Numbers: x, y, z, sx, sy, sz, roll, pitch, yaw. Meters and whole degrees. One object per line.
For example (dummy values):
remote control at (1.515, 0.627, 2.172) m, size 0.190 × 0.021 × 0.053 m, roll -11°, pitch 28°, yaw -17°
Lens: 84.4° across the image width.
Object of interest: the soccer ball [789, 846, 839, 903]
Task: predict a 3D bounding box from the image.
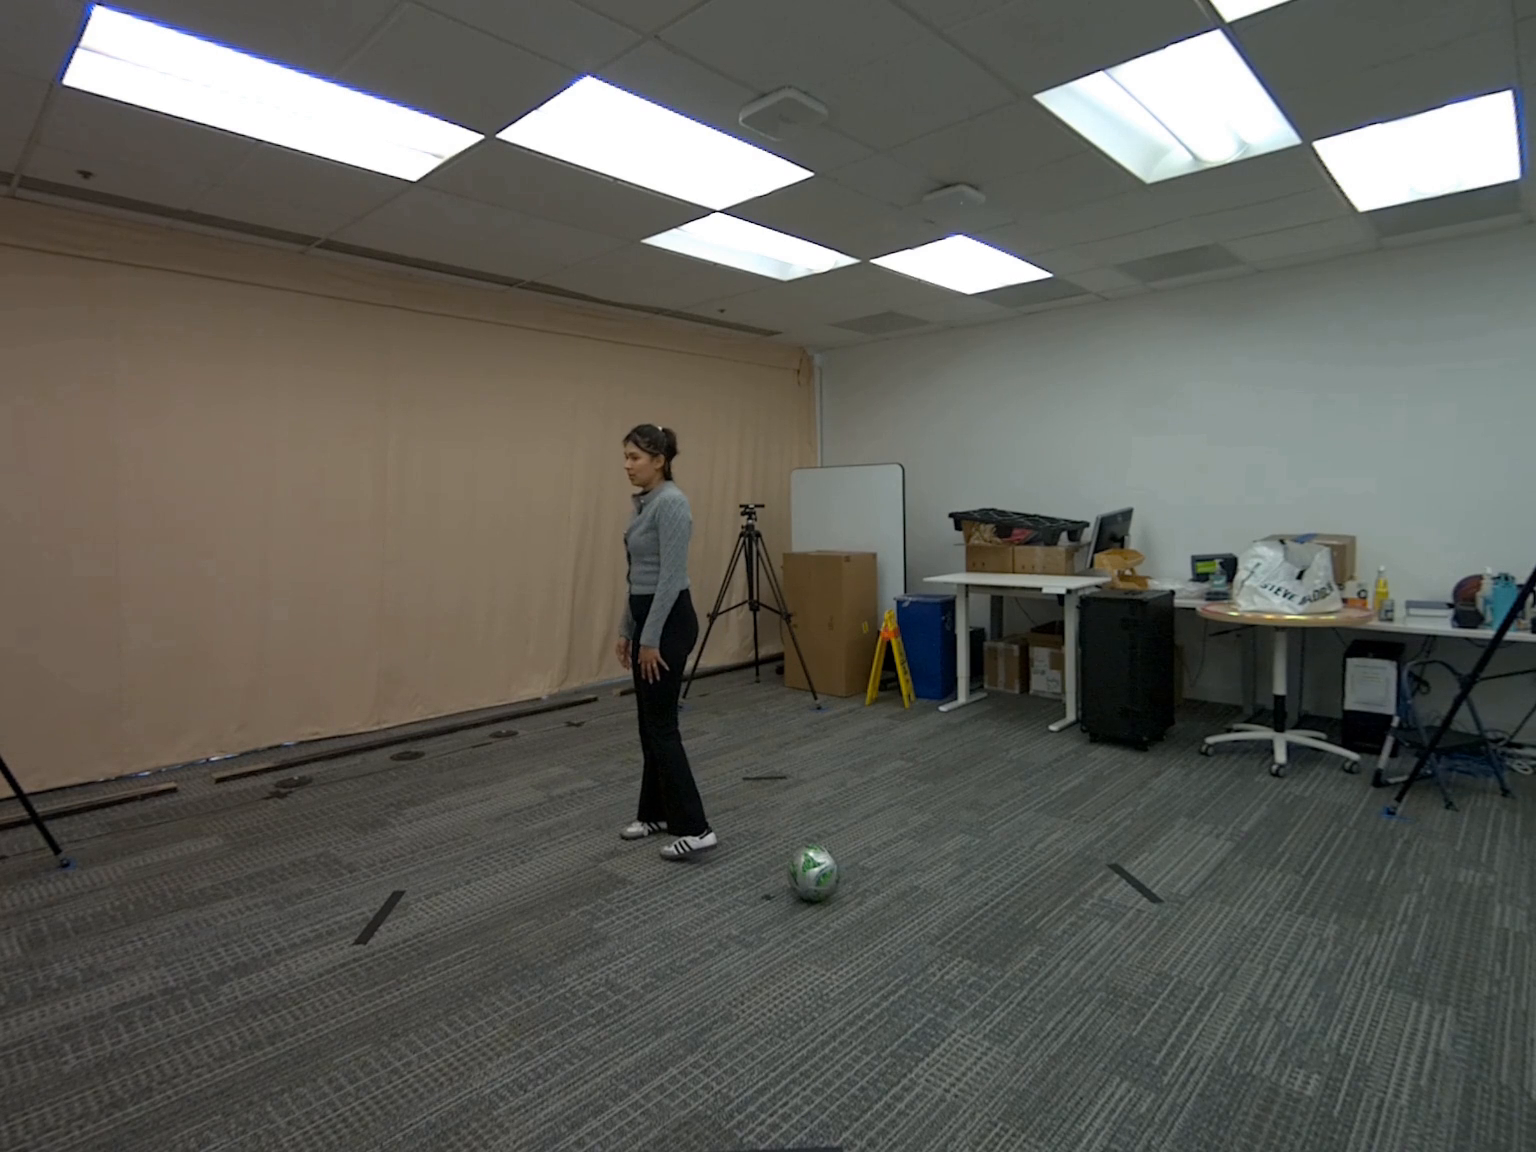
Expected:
soccer ball at (0.160, 1.044, 2.967) m, size 0.187 × 0.187 × 0.188 m, roll -1°, pitch 4°, yaw -2°
